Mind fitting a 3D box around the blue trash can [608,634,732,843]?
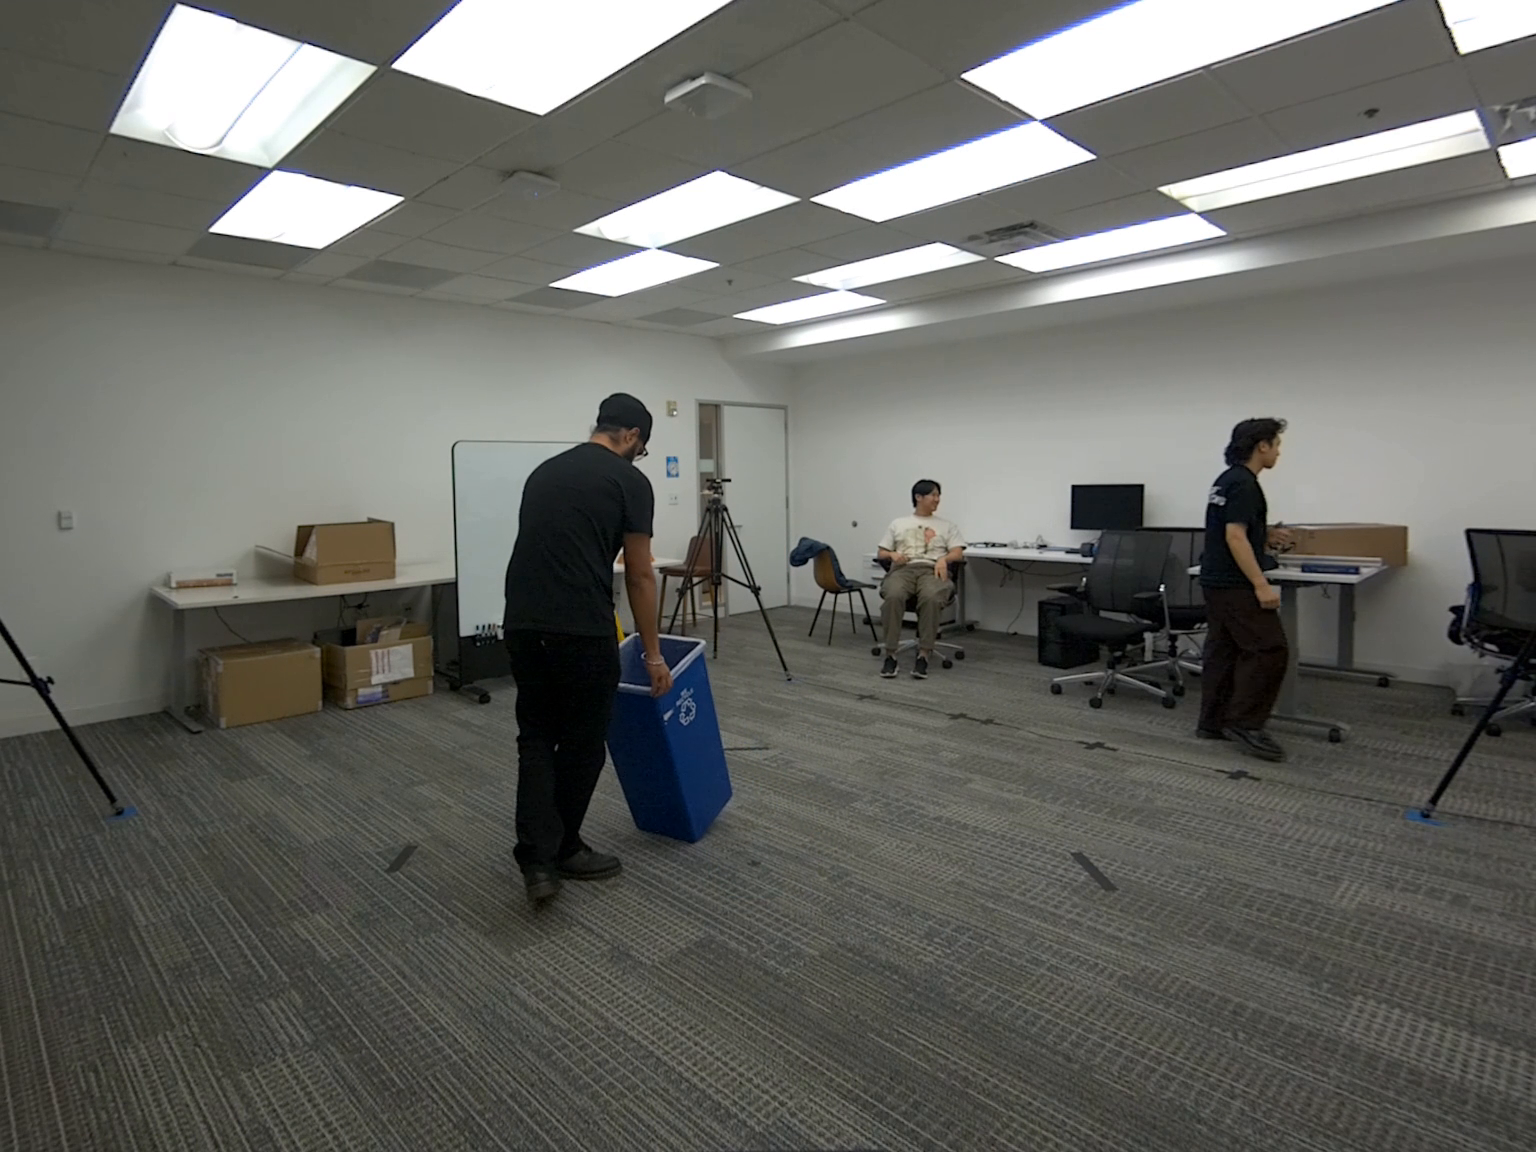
[{"bbox_3d":[-0.400,0.639,3.338,0.388,0.699,0.372,1,24,31],"label":"blue trash can"}]
